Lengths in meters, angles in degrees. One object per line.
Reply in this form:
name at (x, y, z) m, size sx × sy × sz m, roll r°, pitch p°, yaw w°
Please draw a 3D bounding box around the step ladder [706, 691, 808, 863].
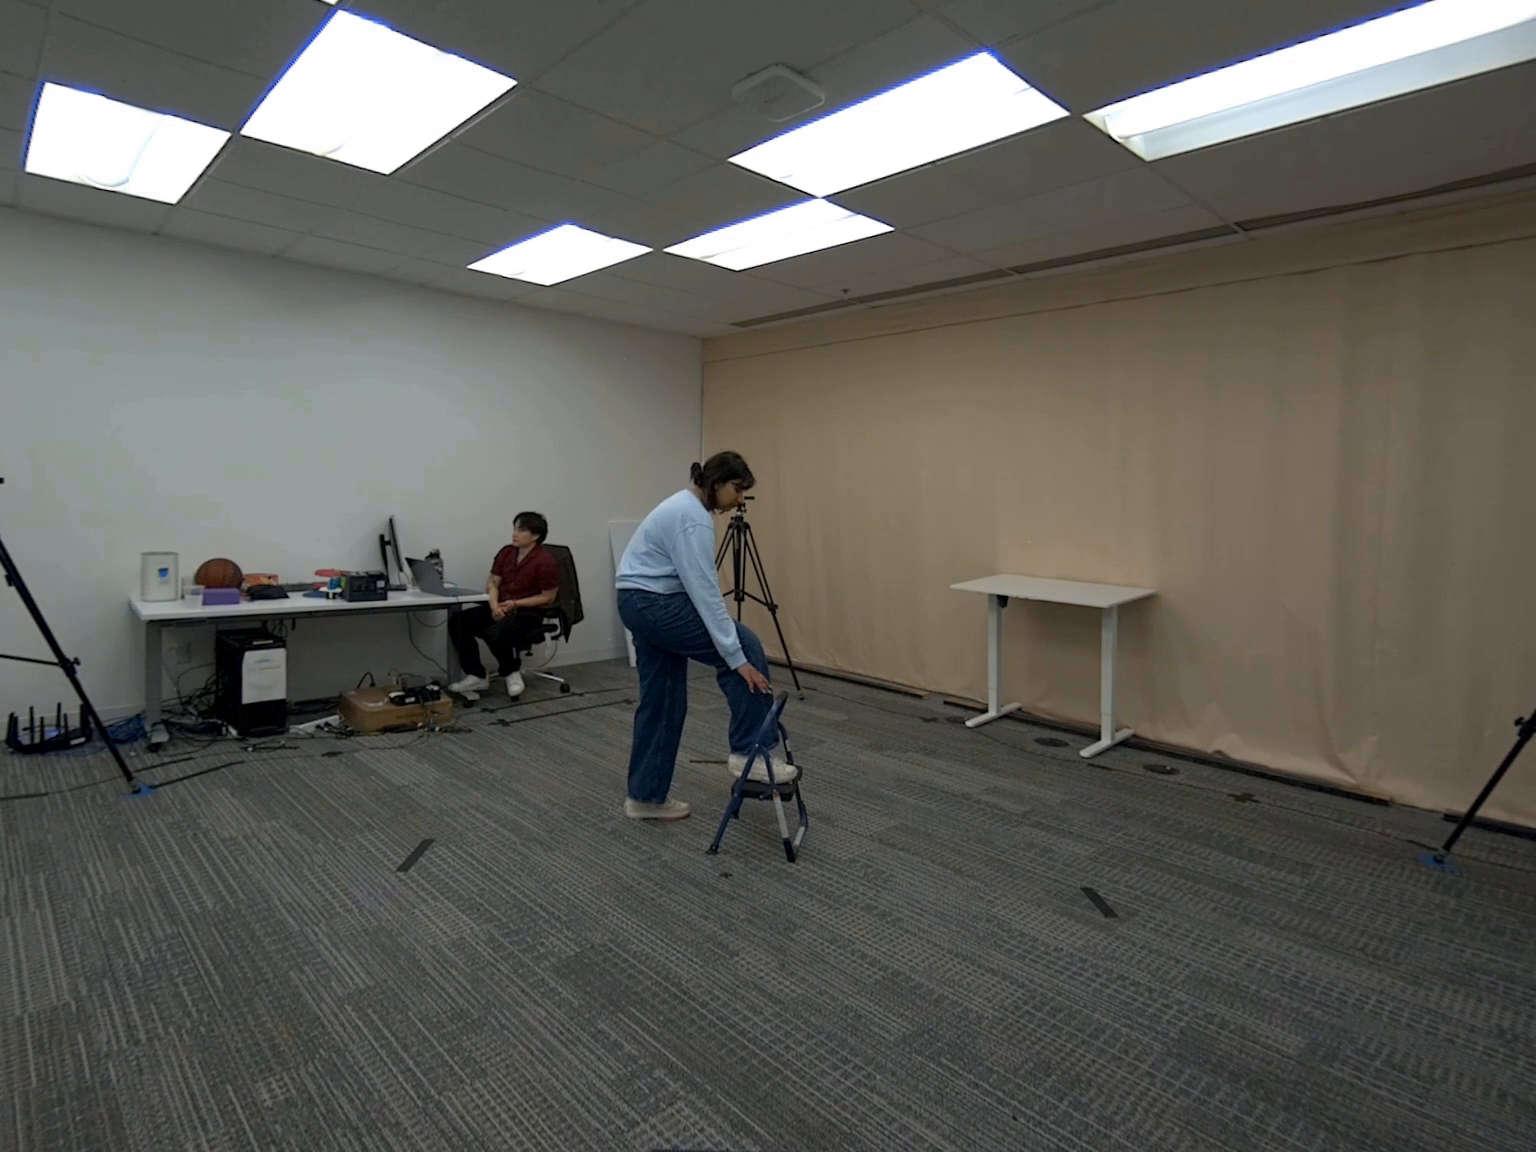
step ladder at (-0.032, 0.778, 3.437) m, size 0.353 × 0.604 × 0.427 m, roll 2°, pitch 4°, yaw 11°
